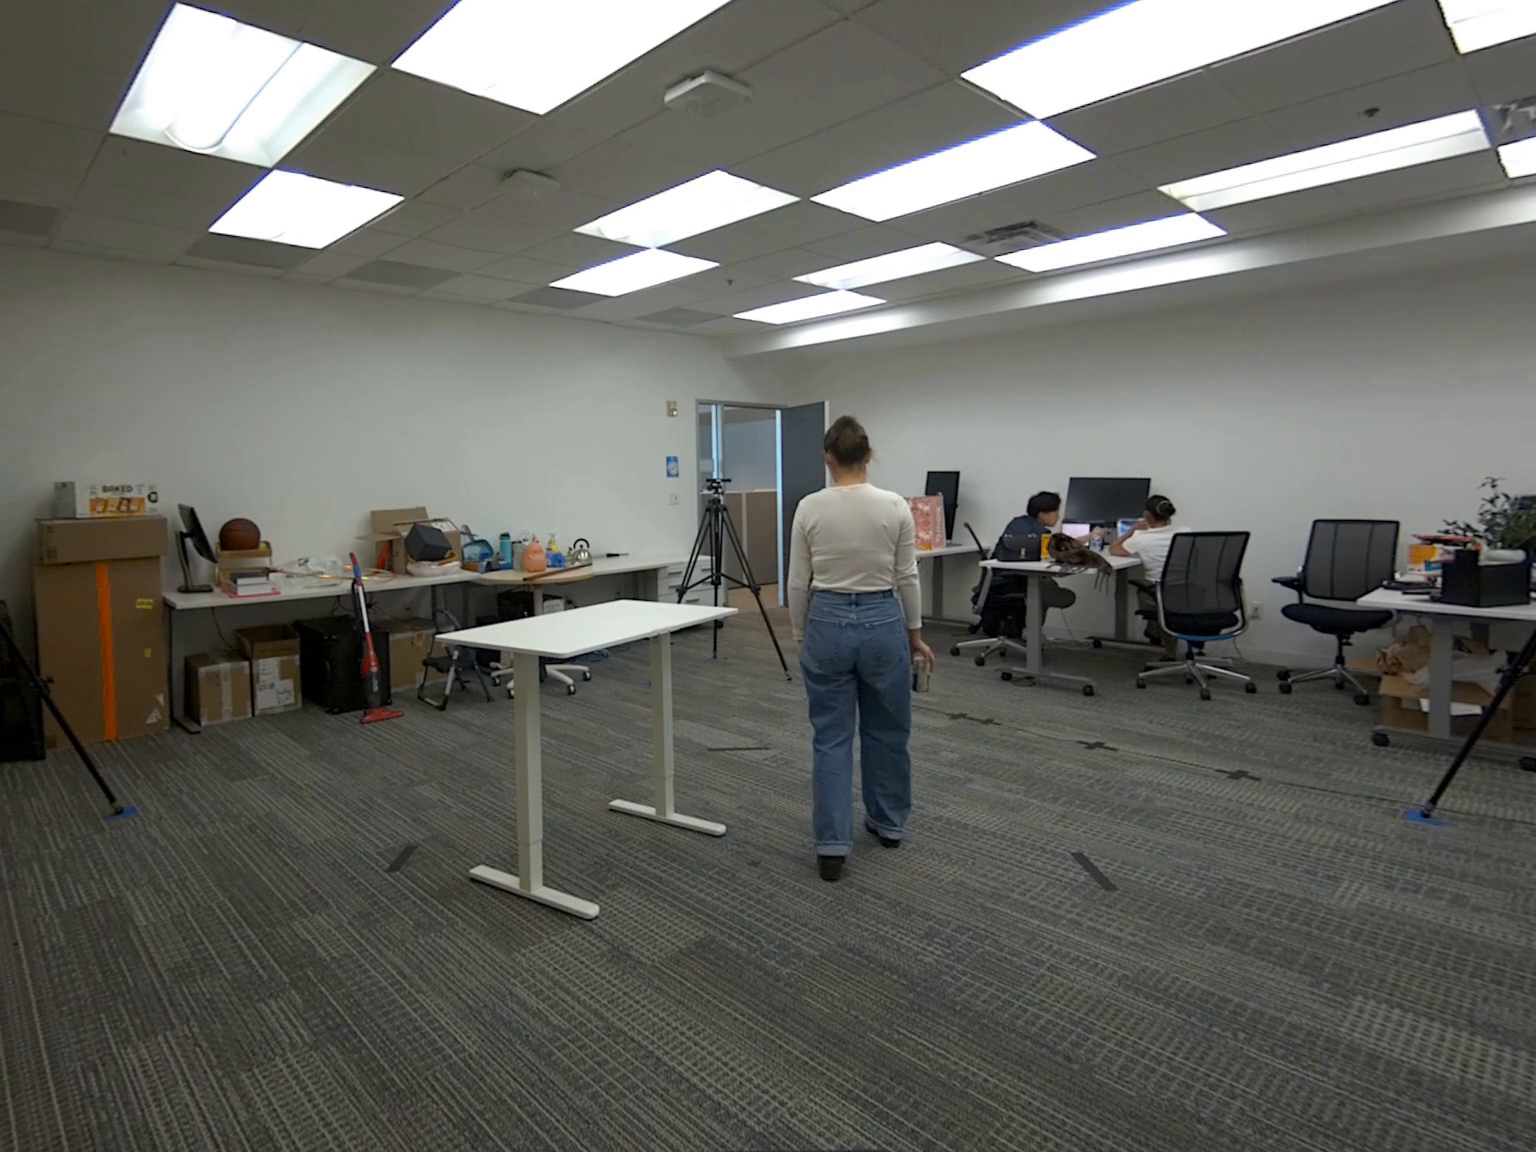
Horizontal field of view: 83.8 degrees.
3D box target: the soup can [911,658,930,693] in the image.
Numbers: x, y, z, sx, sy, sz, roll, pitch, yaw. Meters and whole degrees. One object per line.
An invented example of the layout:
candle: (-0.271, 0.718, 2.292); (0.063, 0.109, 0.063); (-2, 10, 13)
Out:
soup can: (0.560, 0.367, 3.204); (0.067, 0.121, 0.067); (2, 4, -2)
